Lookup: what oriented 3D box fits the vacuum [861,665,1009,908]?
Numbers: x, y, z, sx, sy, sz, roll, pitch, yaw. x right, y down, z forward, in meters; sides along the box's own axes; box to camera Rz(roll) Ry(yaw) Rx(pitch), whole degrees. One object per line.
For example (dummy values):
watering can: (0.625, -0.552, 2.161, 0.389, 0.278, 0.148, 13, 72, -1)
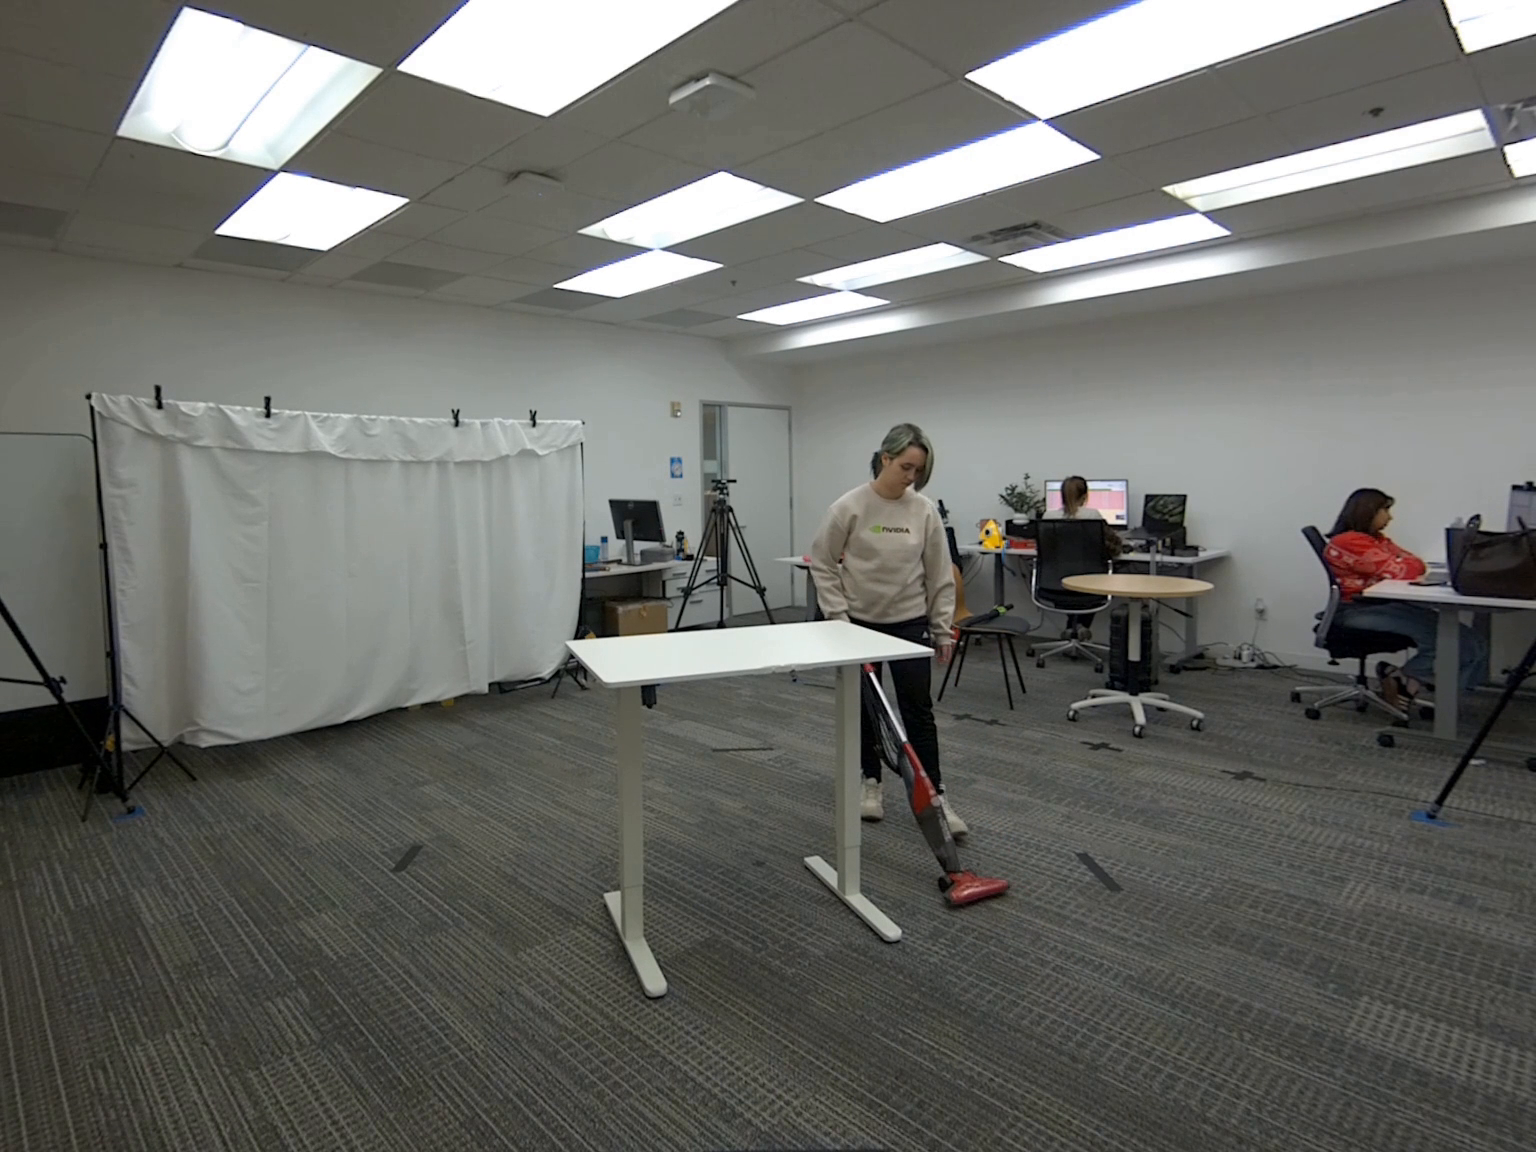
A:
vacuum: (0.501, 0.650, 3.150, 0.246, 1.087, 0.142, 0, -42, -28)
